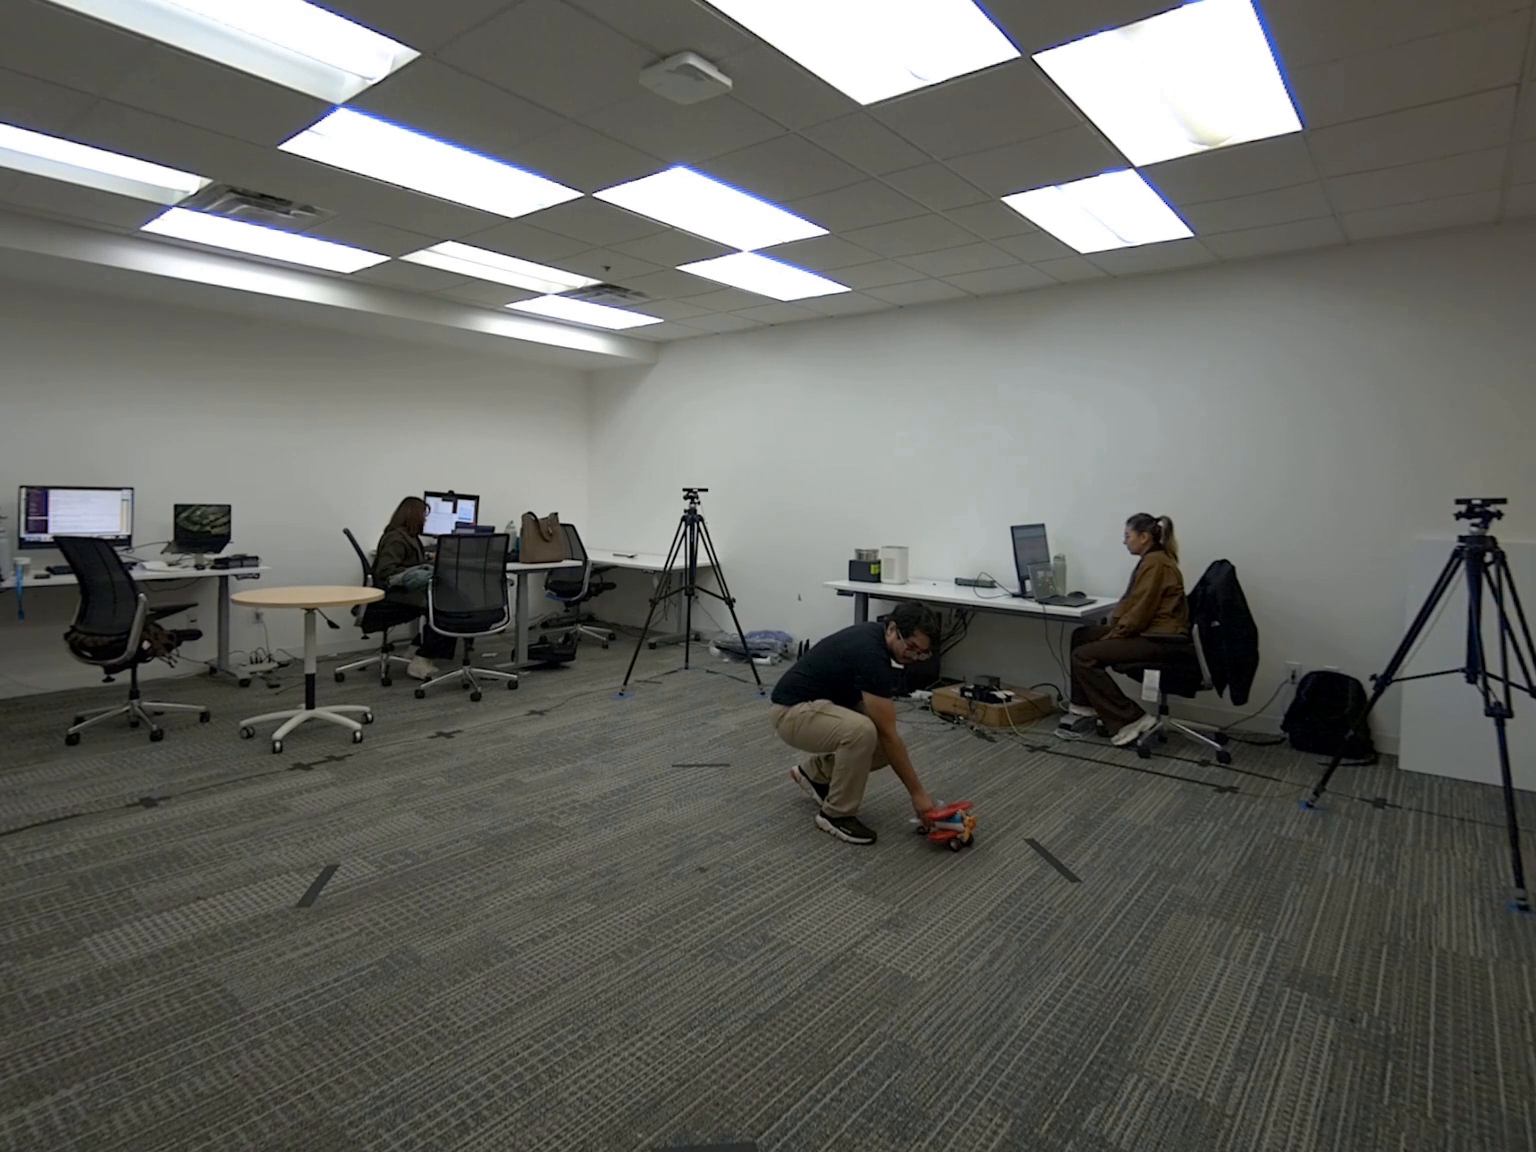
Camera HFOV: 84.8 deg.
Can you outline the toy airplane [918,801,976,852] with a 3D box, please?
[{"bbox_3d":[0.685,0.981,3.405,0.265,0.156,0.246,3,4,21],"label":"toy airplane"}]
